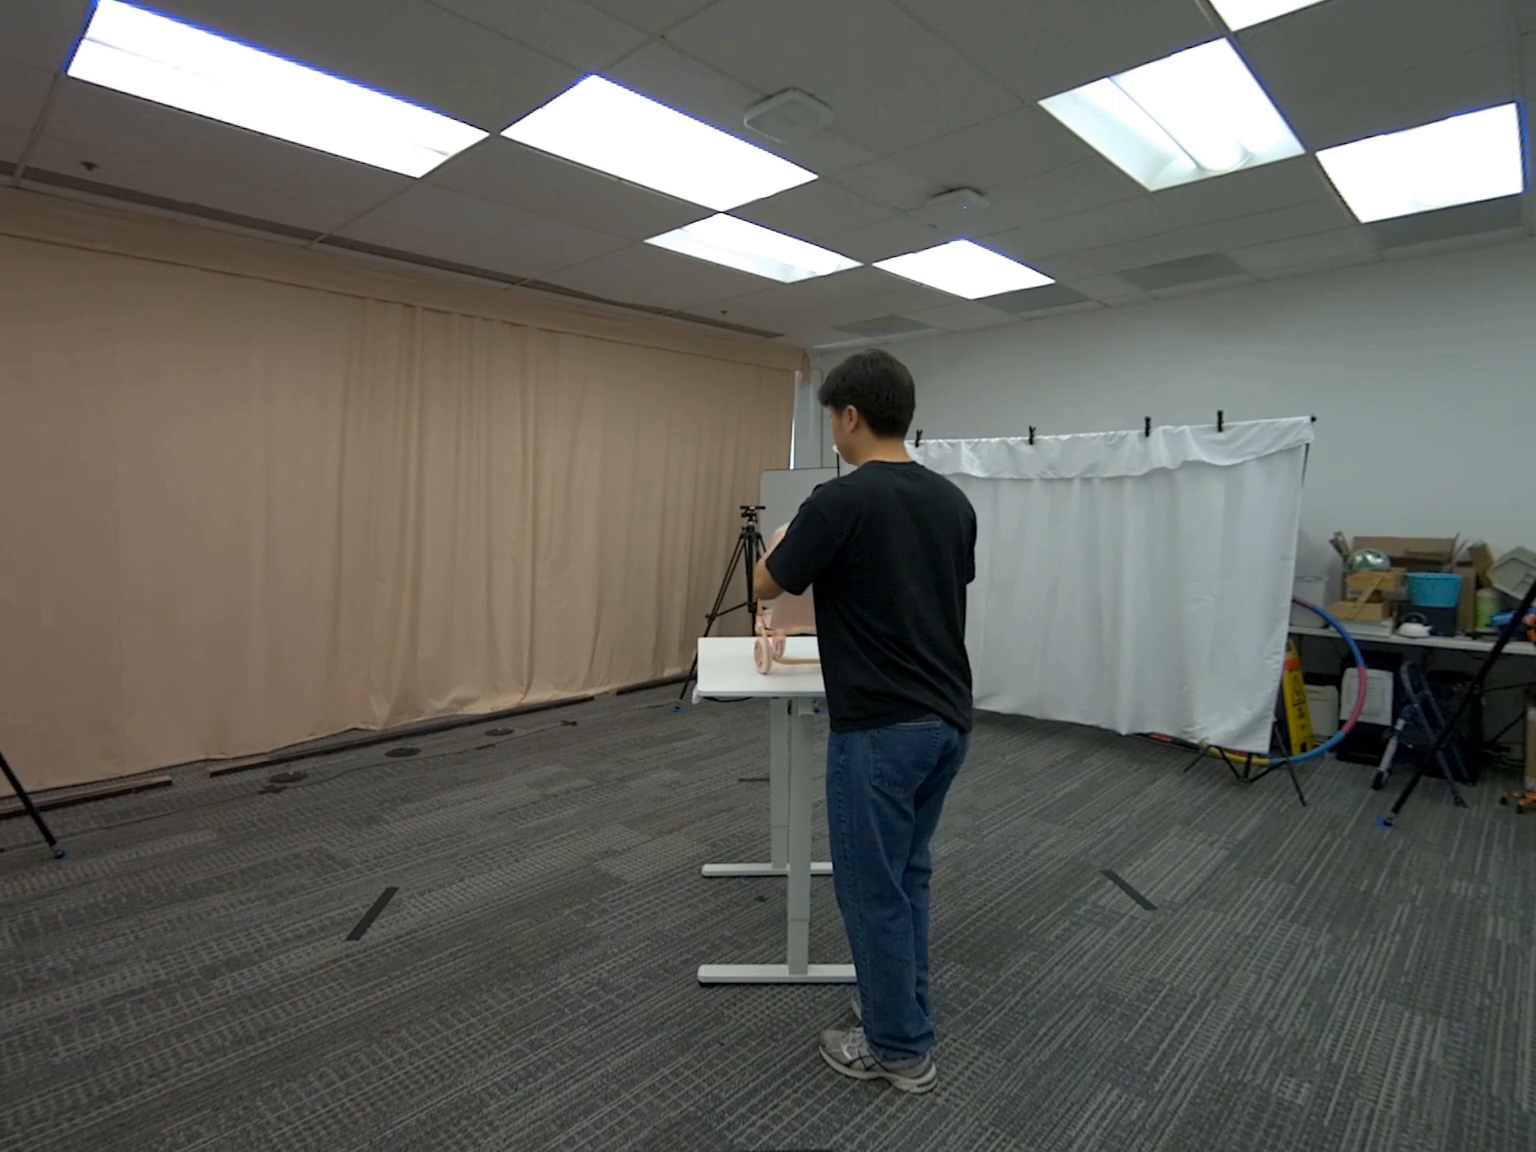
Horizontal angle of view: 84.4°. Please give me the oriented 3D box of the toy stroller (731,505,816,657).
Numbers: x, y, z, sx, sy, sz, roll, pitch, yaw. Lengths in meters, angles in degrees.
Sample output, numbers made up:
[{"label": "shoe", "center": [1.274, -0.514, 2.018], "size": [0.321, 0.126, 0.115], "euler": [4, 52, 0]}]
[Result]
[{"label": "toy stroller", "center": [0.096, 0.067, 2.616], "size": [0.278, 0.530, 0.348], "euler": [0, 18, -11]}]
